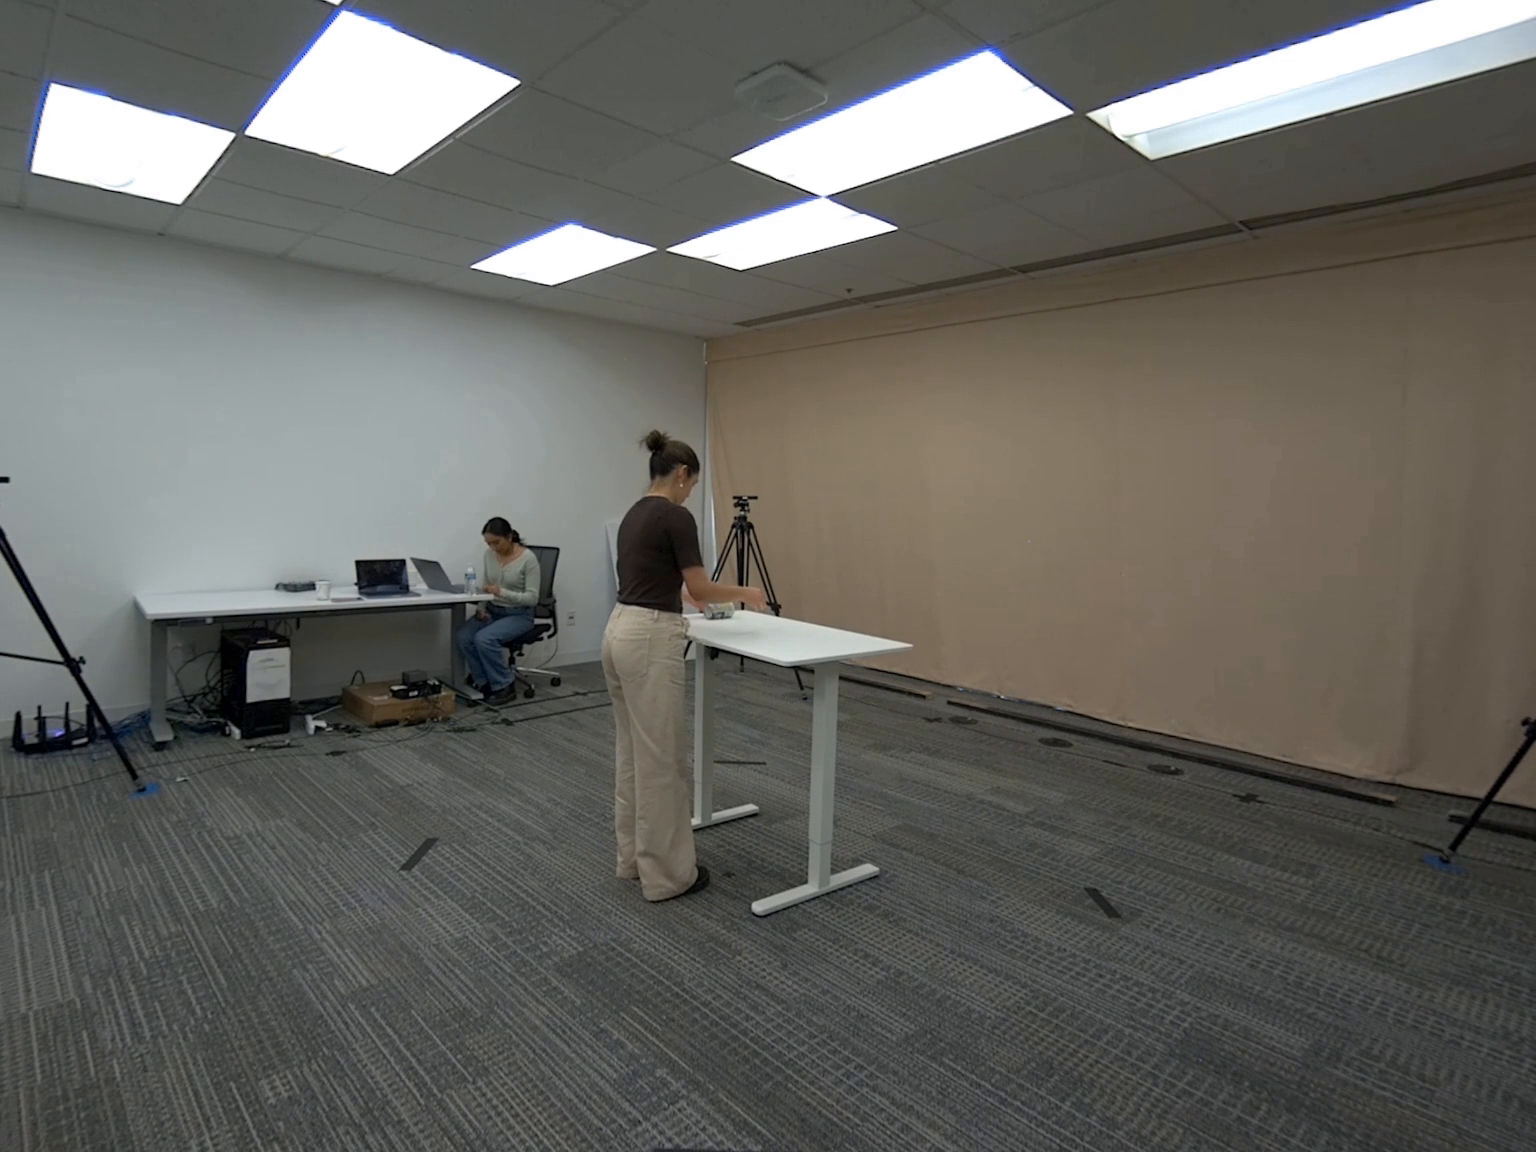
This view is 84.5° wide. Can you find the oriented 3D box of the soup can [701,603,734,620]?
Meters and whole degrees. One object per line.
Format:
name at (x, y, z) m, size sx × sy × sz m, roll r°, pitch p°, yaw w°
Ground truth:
soup can at (-0.208, 0.148, 3.526) m, size 0.119 × 0.067 × 0.069 m, roll -4°, pitch 7°, yaw -42°
